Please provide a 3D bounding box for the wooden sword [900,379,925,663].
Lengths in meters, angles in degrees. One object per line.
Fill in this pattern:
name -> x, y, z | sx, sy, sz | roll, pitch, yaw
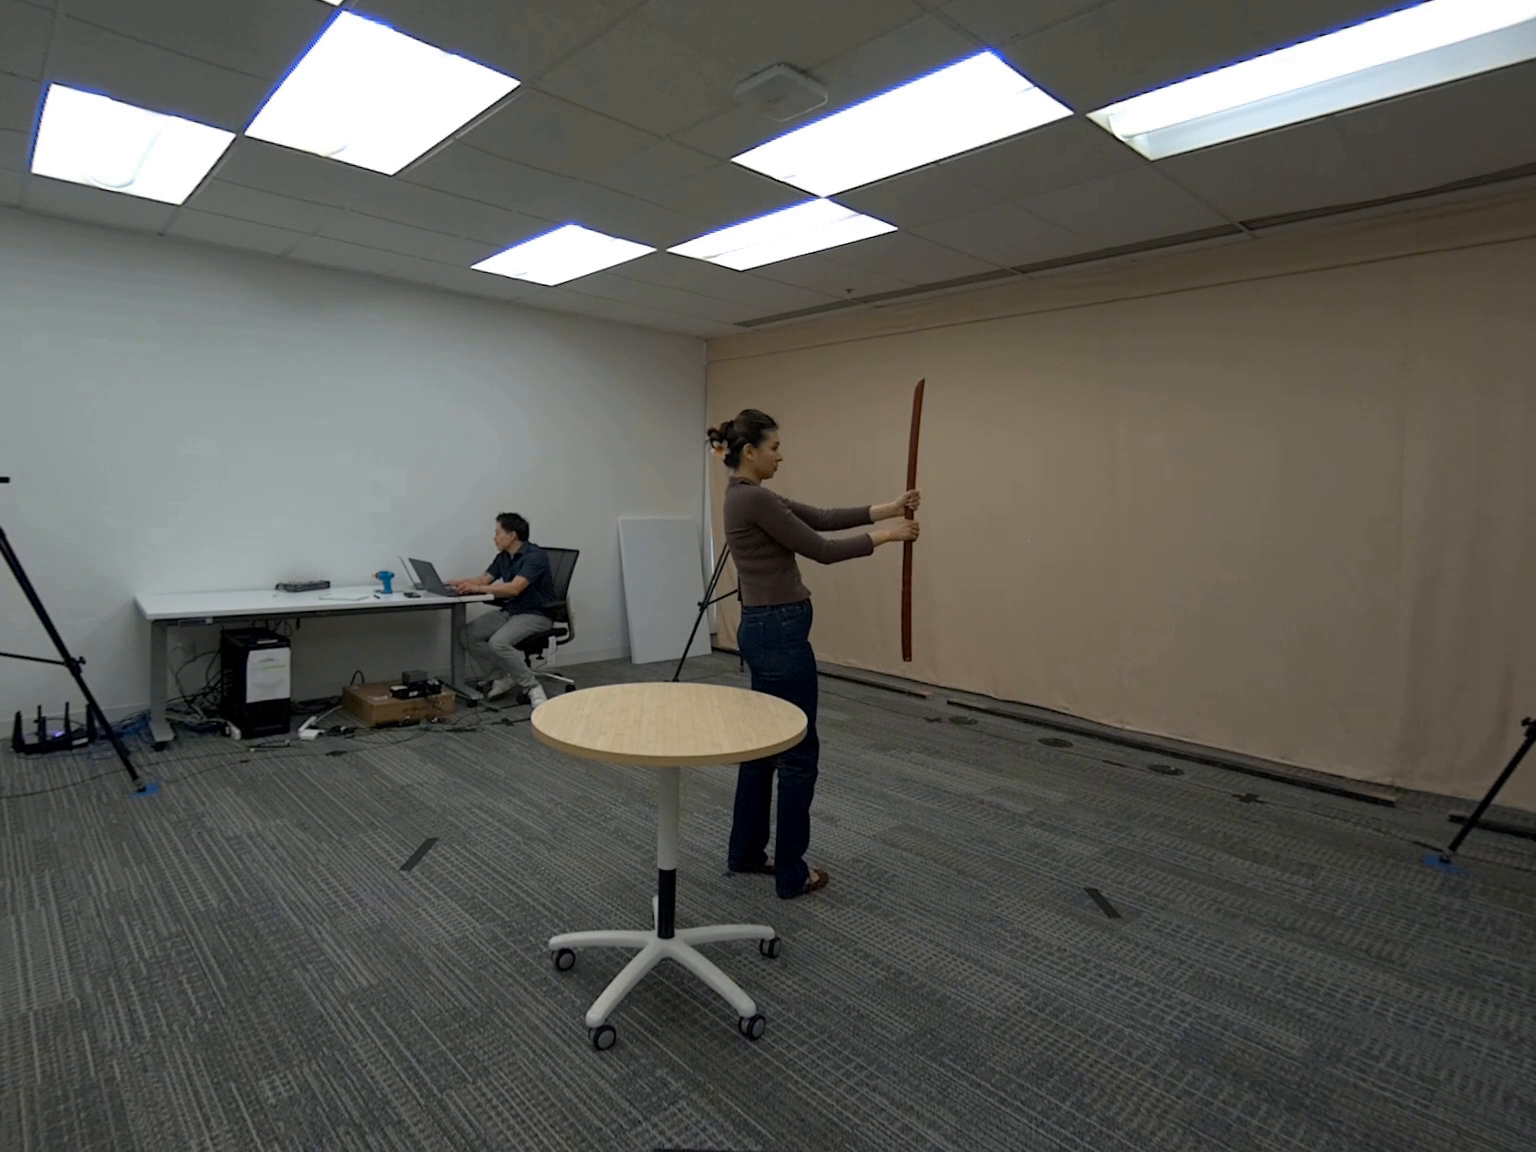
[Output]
wooden sword -> 0.514, -0.198, 3.049 | 0.050, 1.018, 0.024 | -1, 9, -25
